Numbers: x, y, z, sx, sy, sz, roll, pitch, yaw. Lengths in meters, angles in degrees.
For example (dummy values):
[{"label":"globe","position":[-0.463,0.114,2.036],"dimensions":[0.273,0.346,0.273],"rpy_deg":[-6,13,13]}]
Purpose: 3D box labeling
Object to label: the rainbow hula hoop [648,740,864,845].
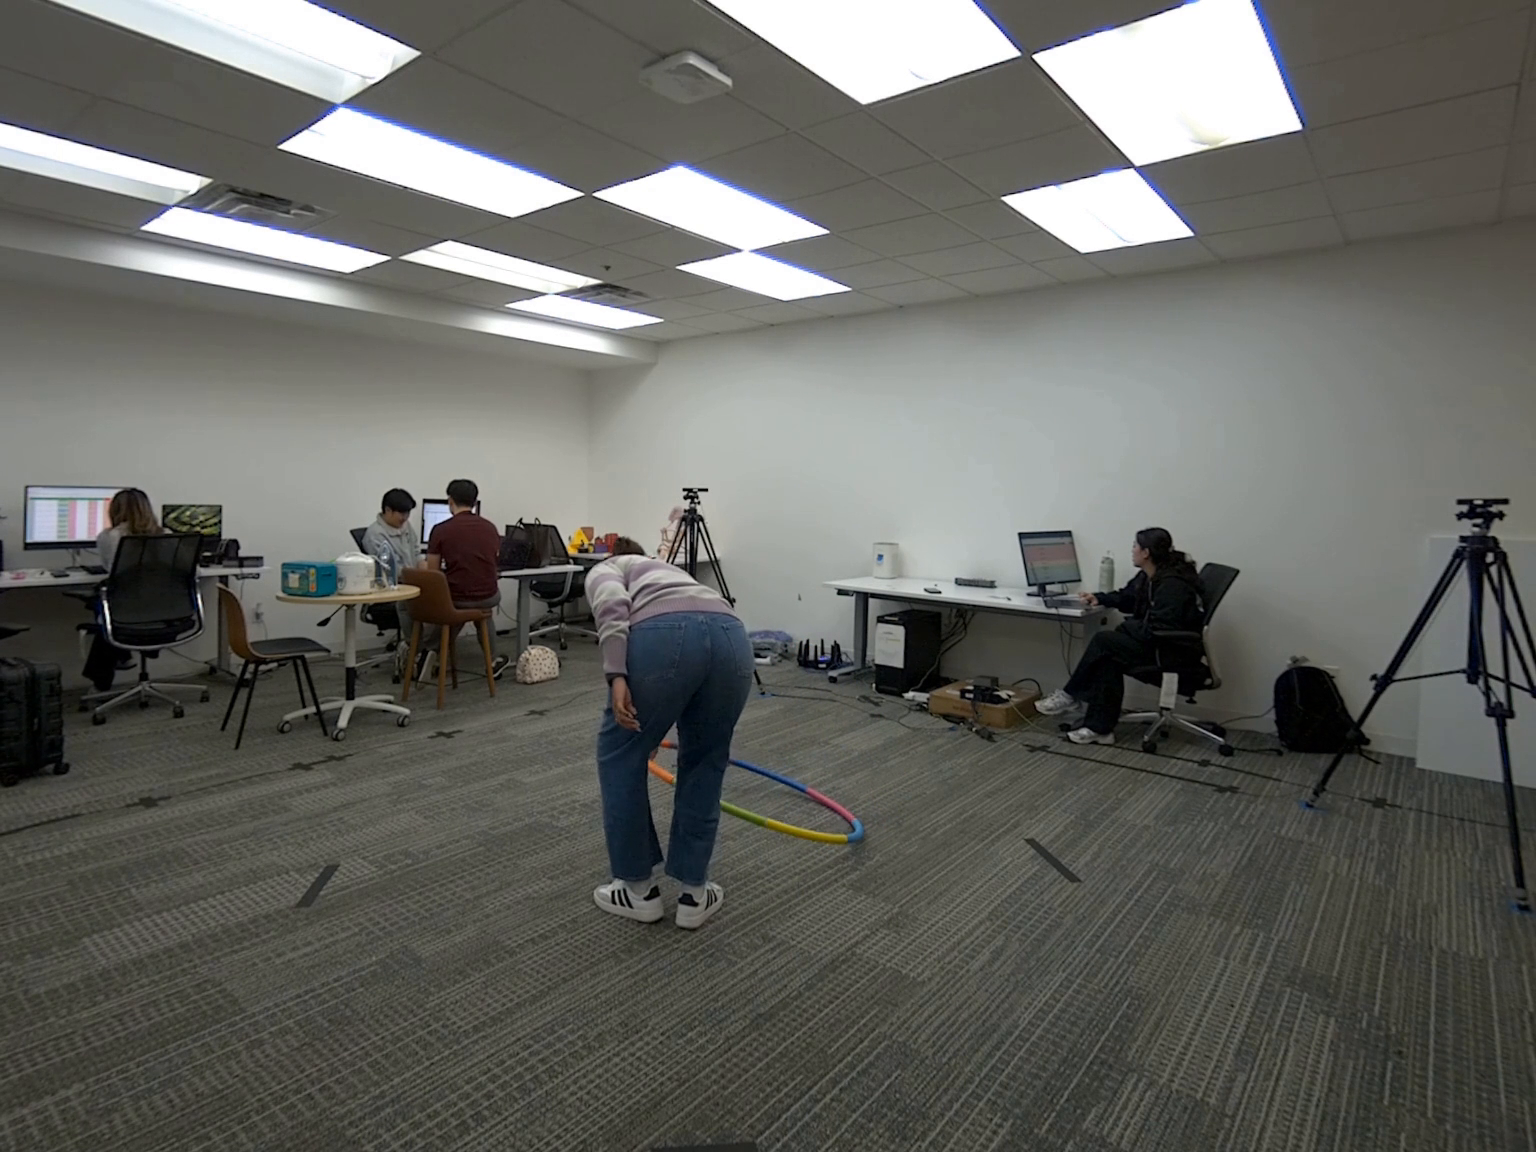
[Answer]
[{"label":"rainbow hula hoop","position":[-0.088,0.857,3.497],"dimensions":[0.979,0.035,0.977],"rpy_deg":[19,-2,-1]}]
